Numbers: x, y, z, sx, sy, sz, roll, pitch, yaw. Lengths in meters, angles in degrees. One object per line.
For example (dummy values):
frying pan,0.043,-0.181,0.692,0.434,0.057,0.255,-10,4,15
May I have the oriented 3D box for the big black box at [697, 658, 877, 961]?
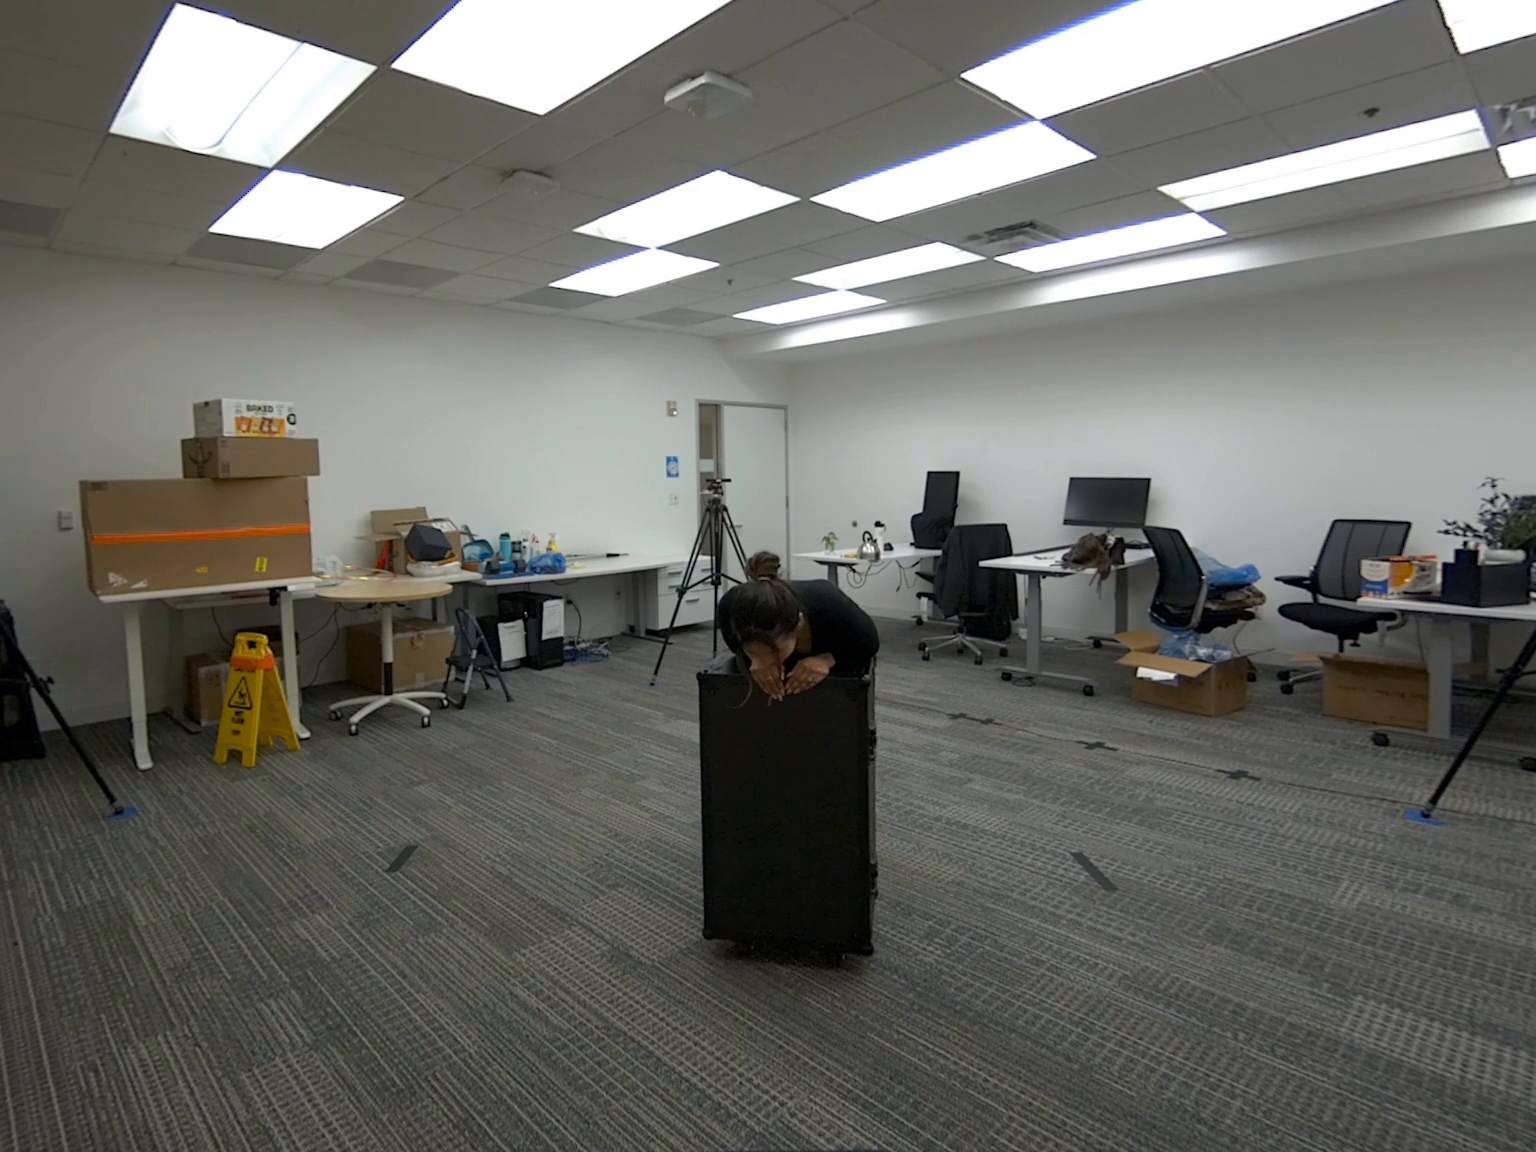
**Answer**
big black box,0.067,0.685,2.580,0.527,0.859,0.392,0,3,12
